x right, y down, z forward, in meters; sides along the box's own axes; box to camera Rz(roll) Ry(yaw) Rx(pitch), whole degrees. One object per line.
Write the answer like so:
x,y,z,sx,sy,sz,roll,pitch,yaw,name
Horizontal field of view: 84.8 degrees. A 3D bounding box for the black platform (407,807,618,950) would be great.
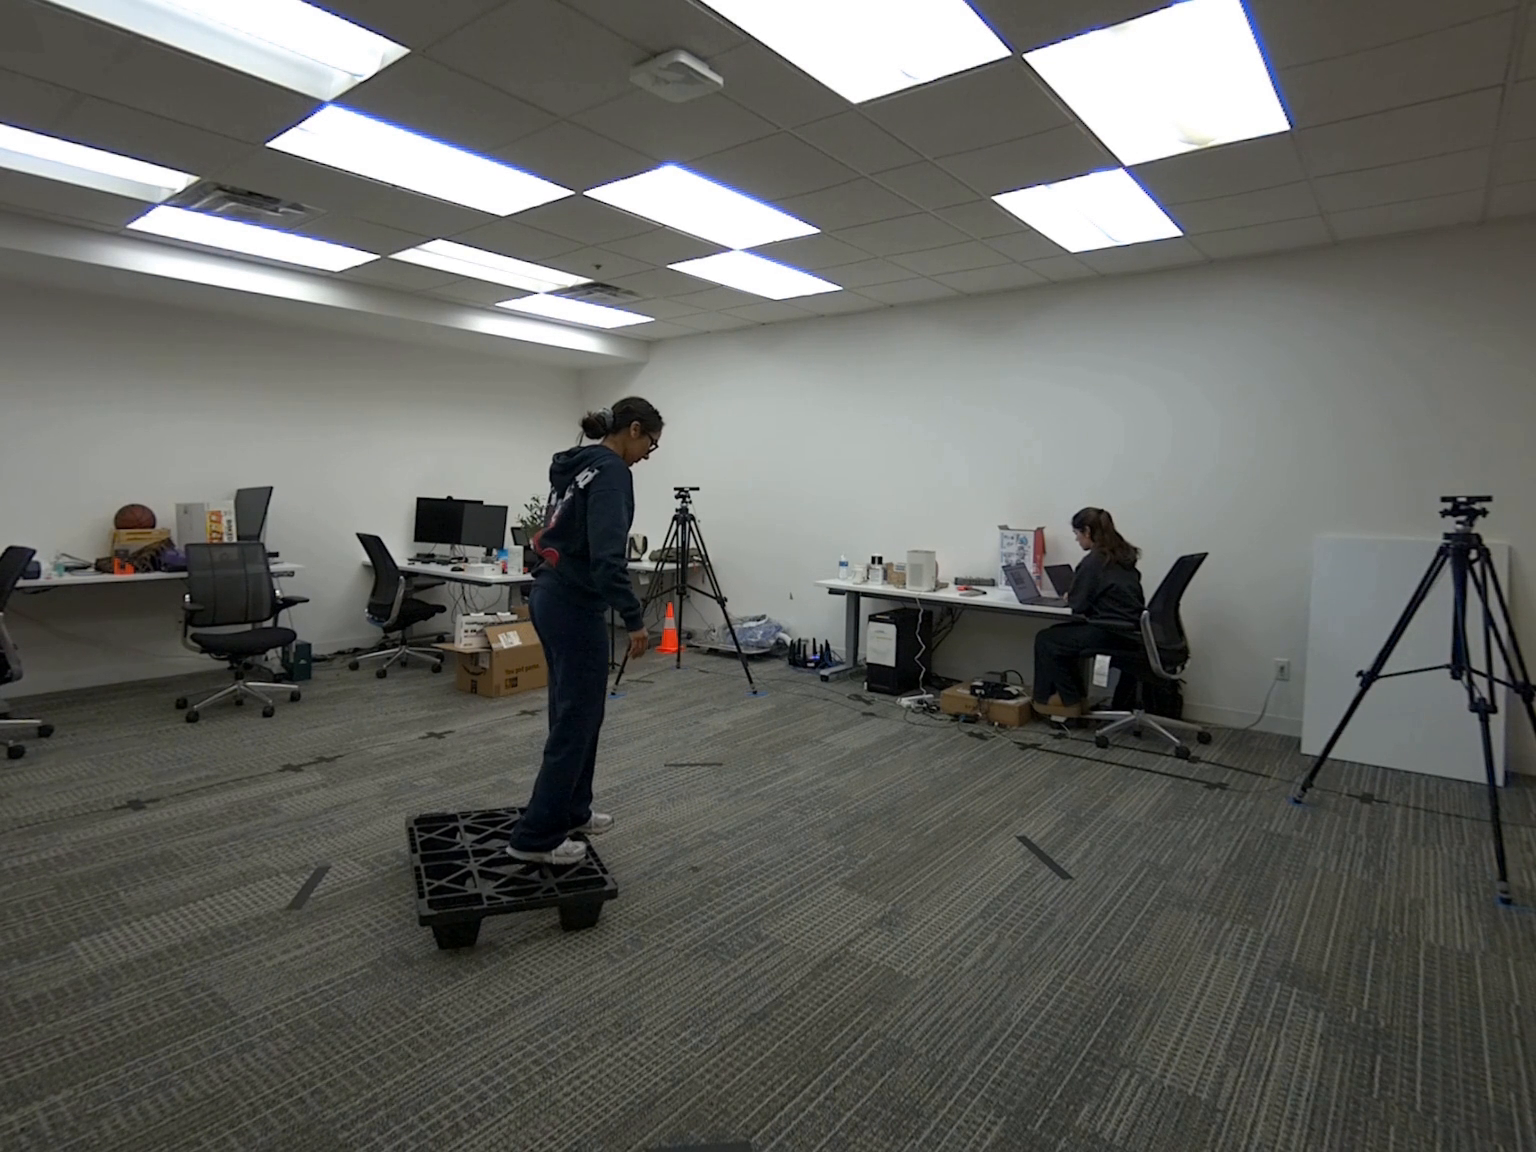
-0.919,0.995,2.928,0.590,0.143,0.828,1,5,-25,black platform
